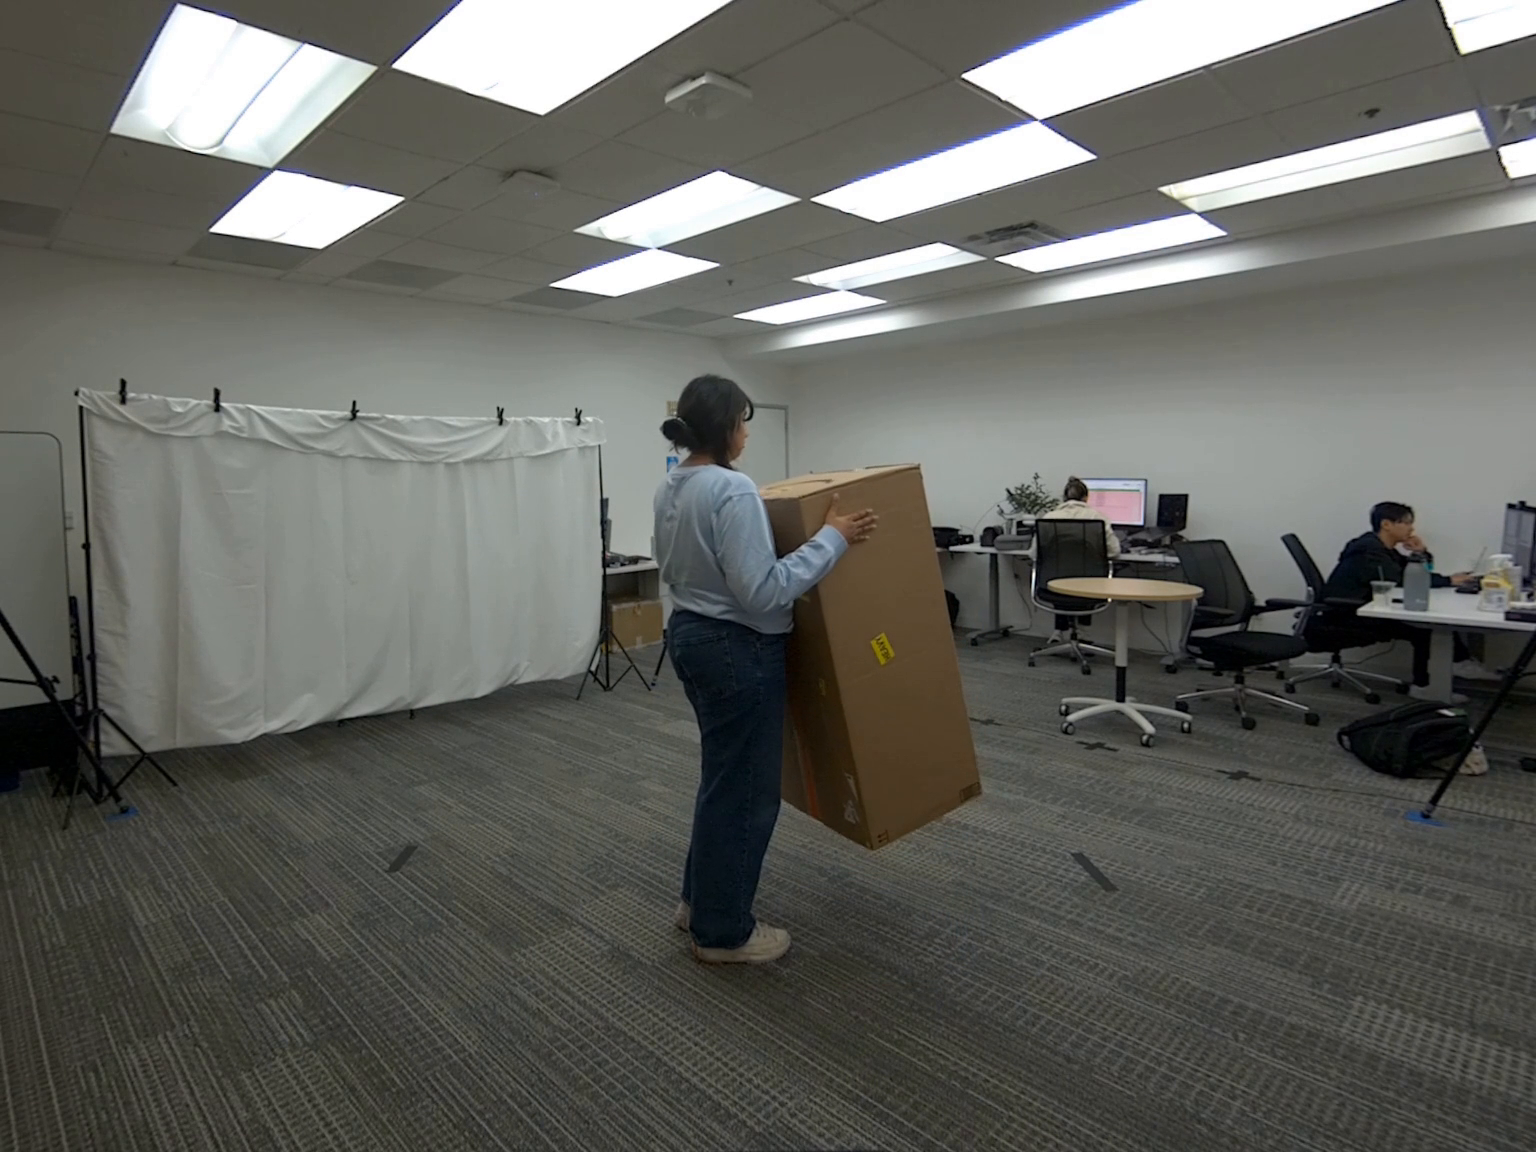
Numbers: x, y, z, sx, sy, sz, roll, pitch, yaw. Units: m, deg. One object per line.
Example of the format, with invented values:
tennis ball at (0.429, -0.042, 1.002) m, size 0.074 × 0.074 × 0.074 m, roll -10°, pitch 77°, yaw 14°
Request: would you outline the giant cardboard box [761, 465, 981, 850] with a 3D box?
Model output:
giant cardboard box at (0.226, 0.210, 2.681) m, size 0.440 × 1.019 × 0.598 m, roll -16°, pitch 9°, yaw -25°
